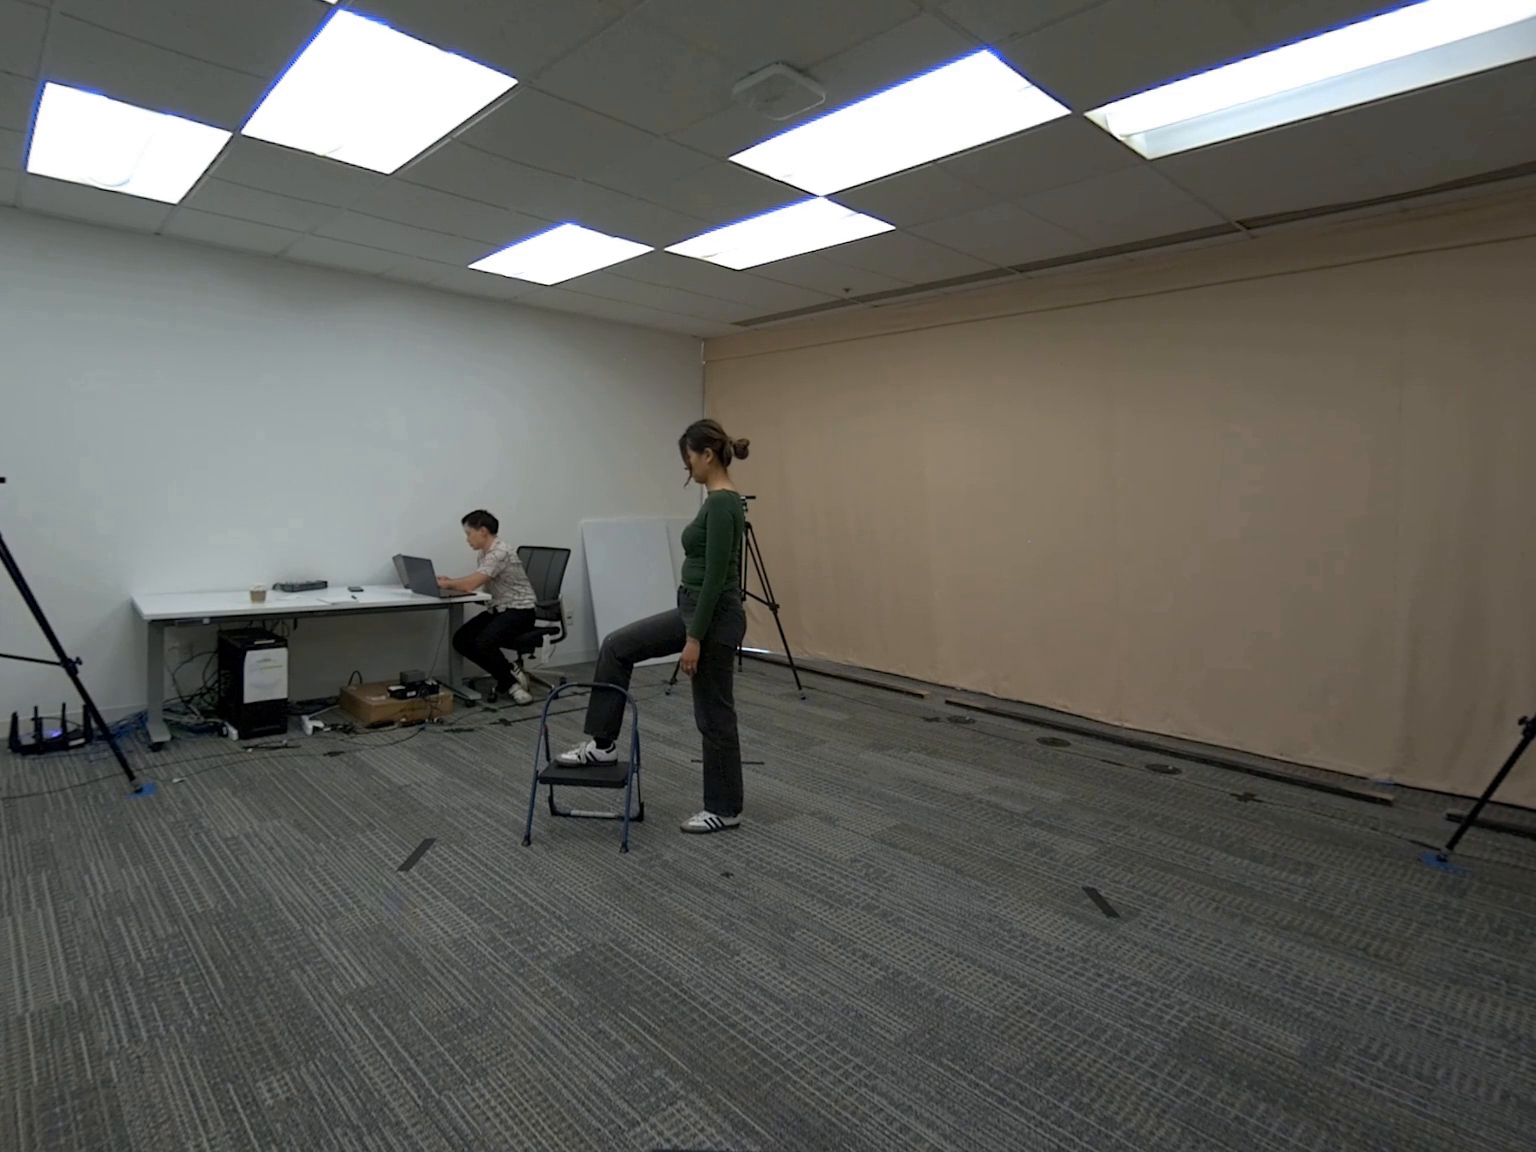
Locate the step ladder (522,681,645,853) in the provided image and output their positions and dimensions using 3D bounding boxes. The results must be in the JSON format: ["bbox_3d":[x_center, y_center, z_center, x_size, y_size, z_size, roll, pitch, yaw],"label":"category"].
[{"bbox_3d":[-0.750,0.761,3.447,0.433,0.604,0.349,1,4,5],"label":"step ladder"}]
